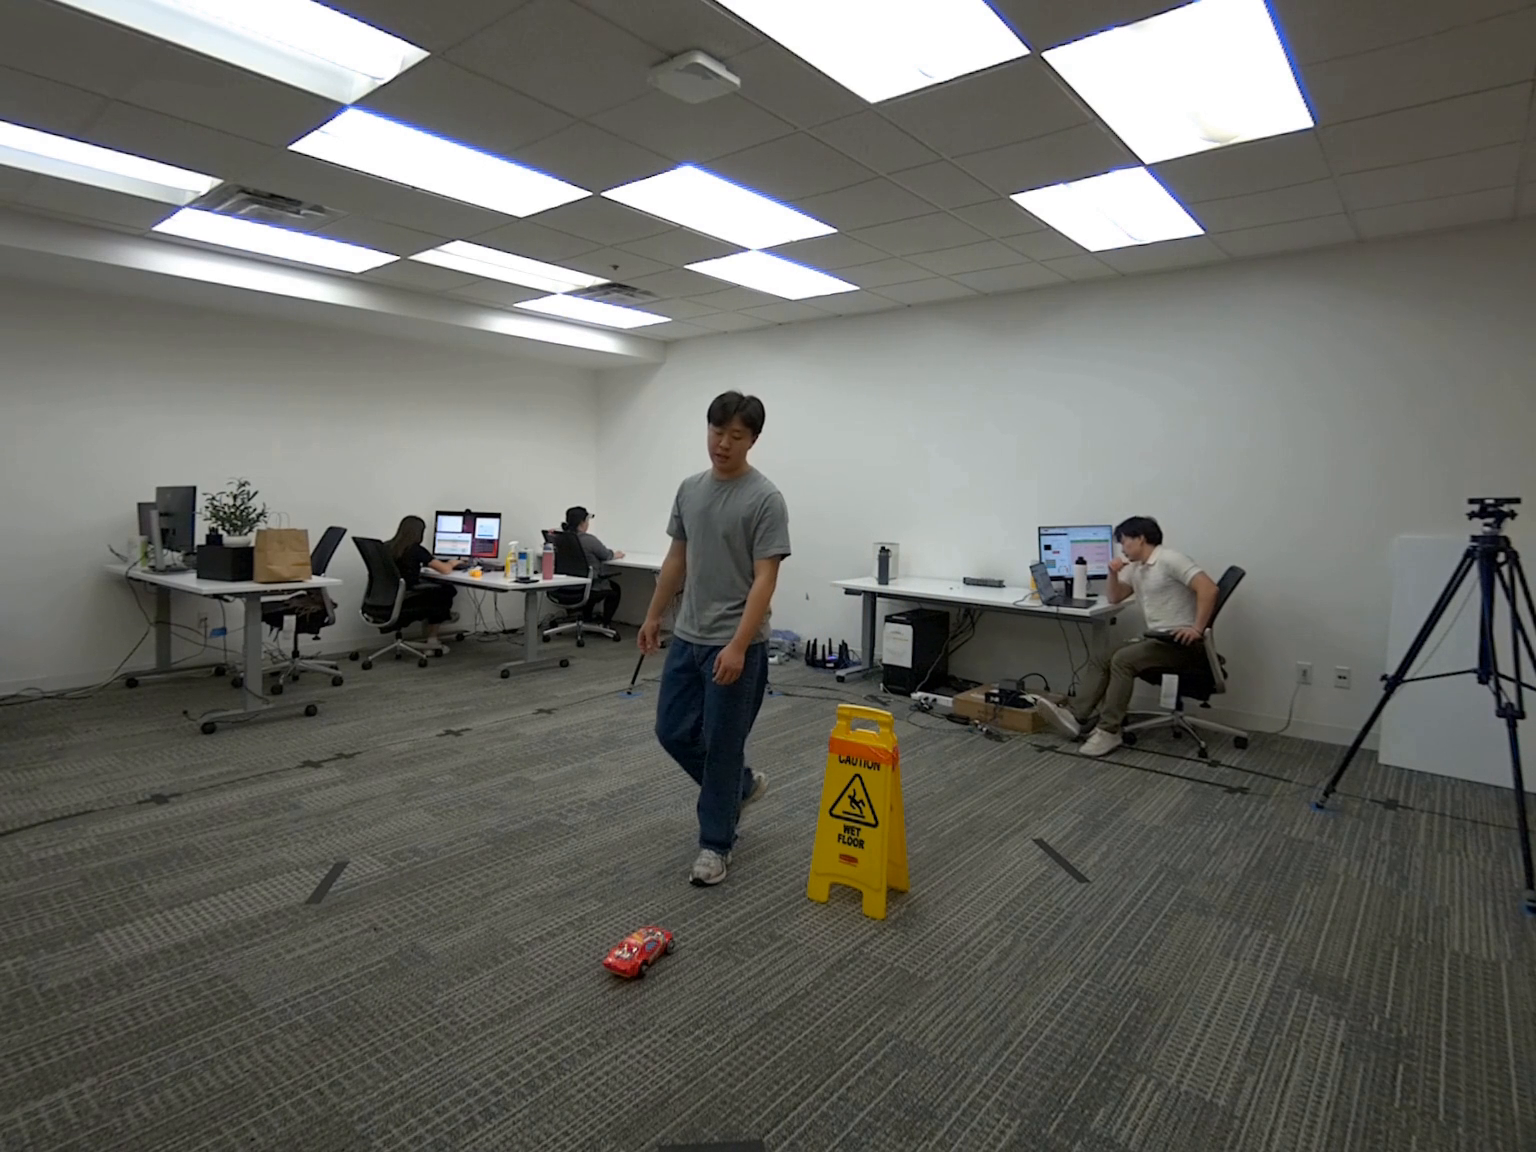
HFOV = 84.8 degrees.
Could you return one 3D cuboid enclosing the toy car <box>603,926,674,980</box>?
[{"bbox_3d":[-0.389,1.095,2.471,0.134,0.083,0.246,5,-4,26],"label":"toy car"}]
